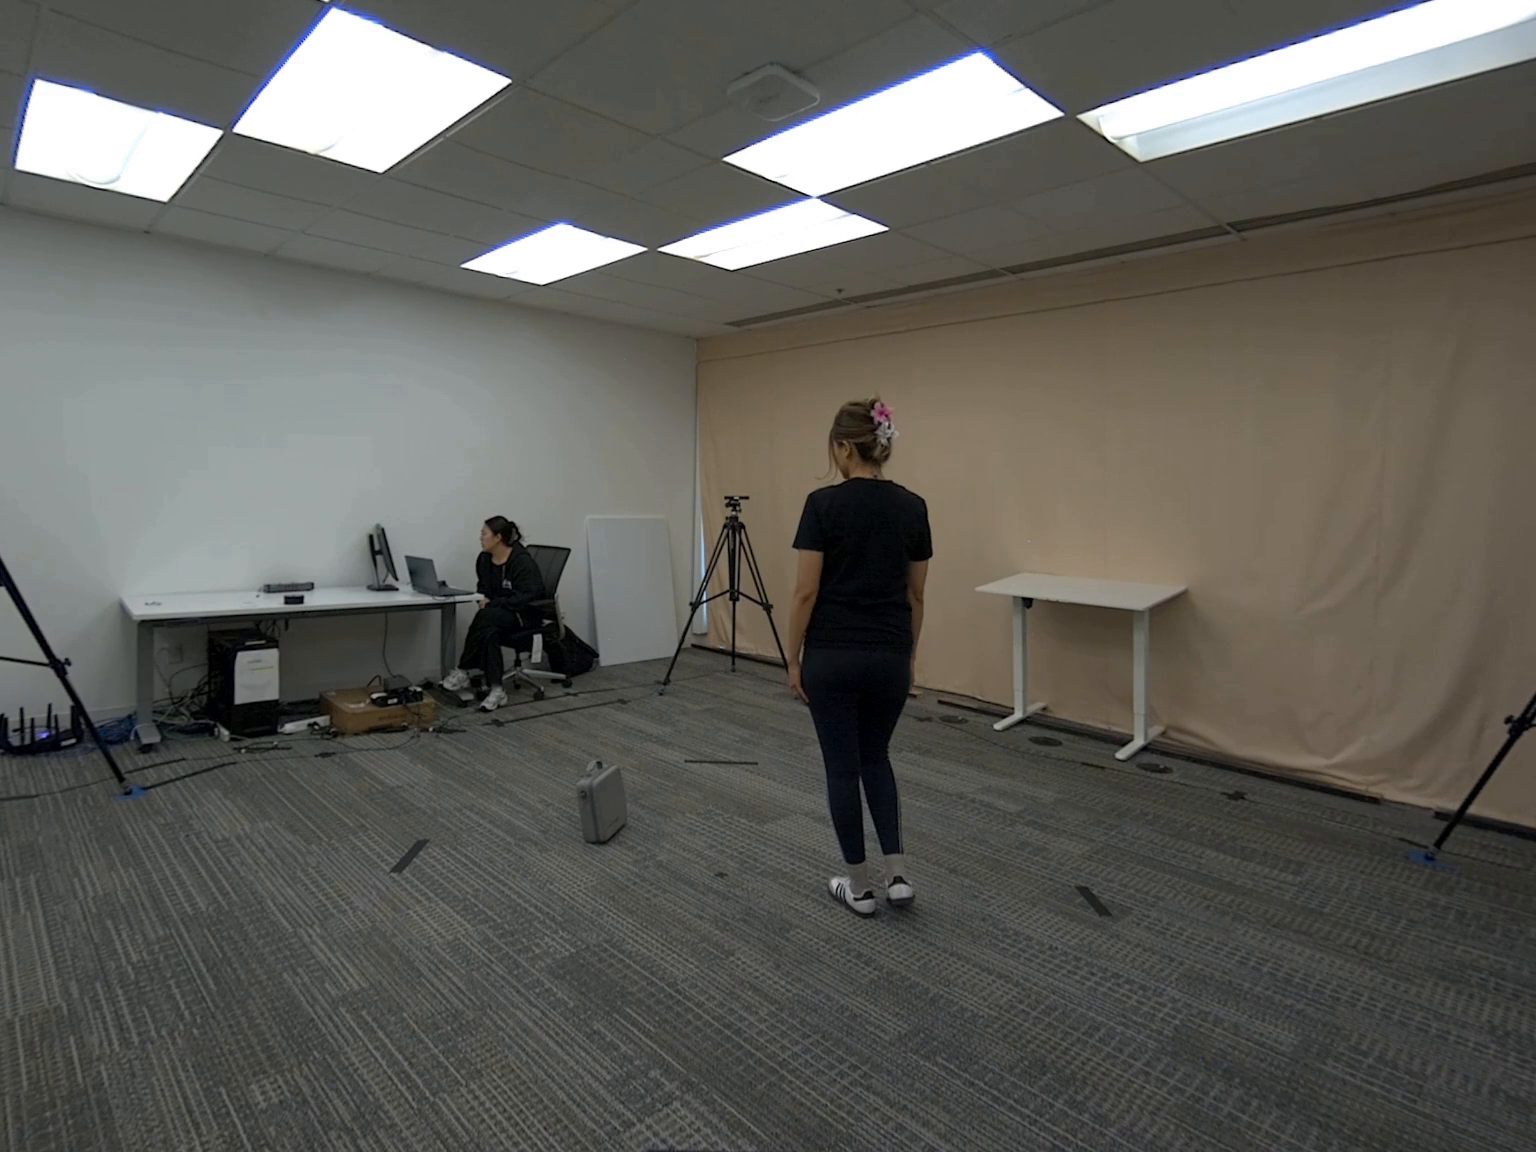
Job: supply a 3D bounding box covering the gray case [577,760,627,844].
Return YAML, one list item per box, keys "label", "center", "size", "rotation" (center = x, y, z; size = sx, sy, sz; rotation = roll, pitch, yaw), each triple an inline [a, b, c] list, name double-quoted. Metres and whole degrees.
- label: "gray case"
  center: [-0.692, 0.929, 3.458]
  size: [0.105, 0.261, 0.254]
  rotation: [-7, 1, 15]
